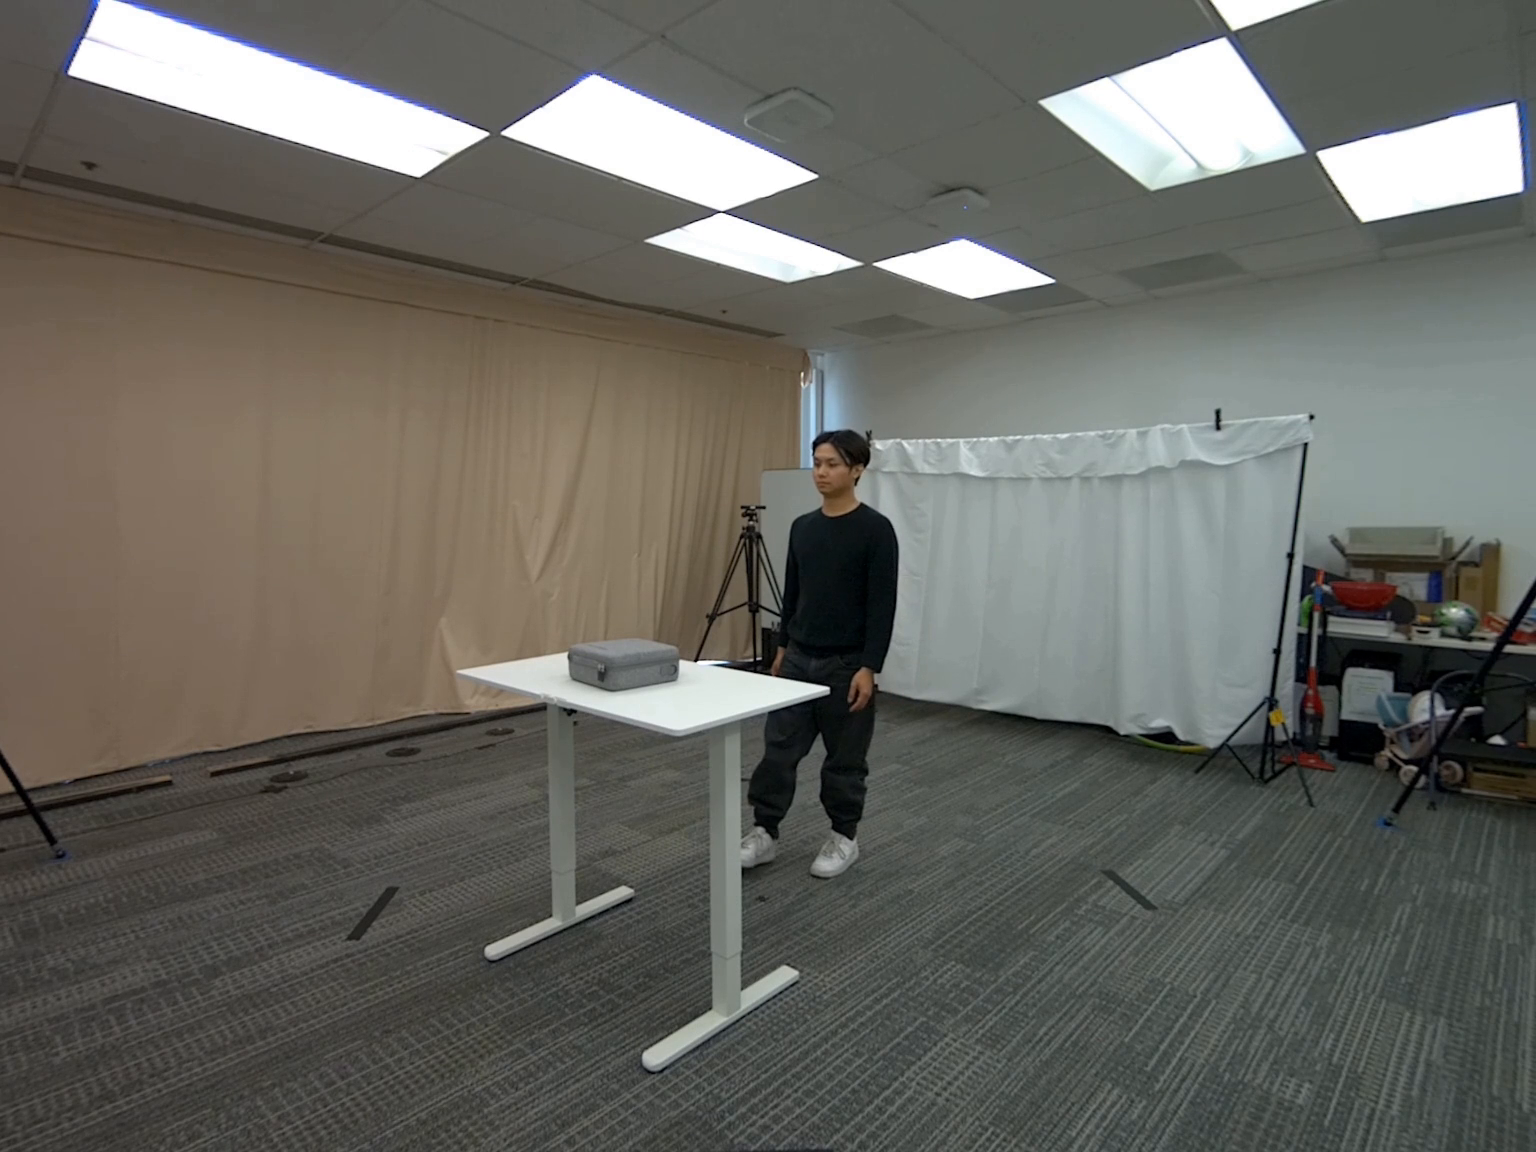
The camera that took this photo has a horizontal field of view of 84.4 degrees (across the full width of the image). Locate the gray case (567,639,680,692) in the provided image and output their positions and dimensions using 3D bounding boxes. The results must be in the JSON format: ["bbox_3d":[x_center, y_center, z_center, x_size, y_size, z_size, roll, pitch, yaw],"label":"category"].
[{"bbox_3d":[-0.427,0.256,2.475,0.253,0.104,0.265,-5,6,-44],"label":"gray case"}]
